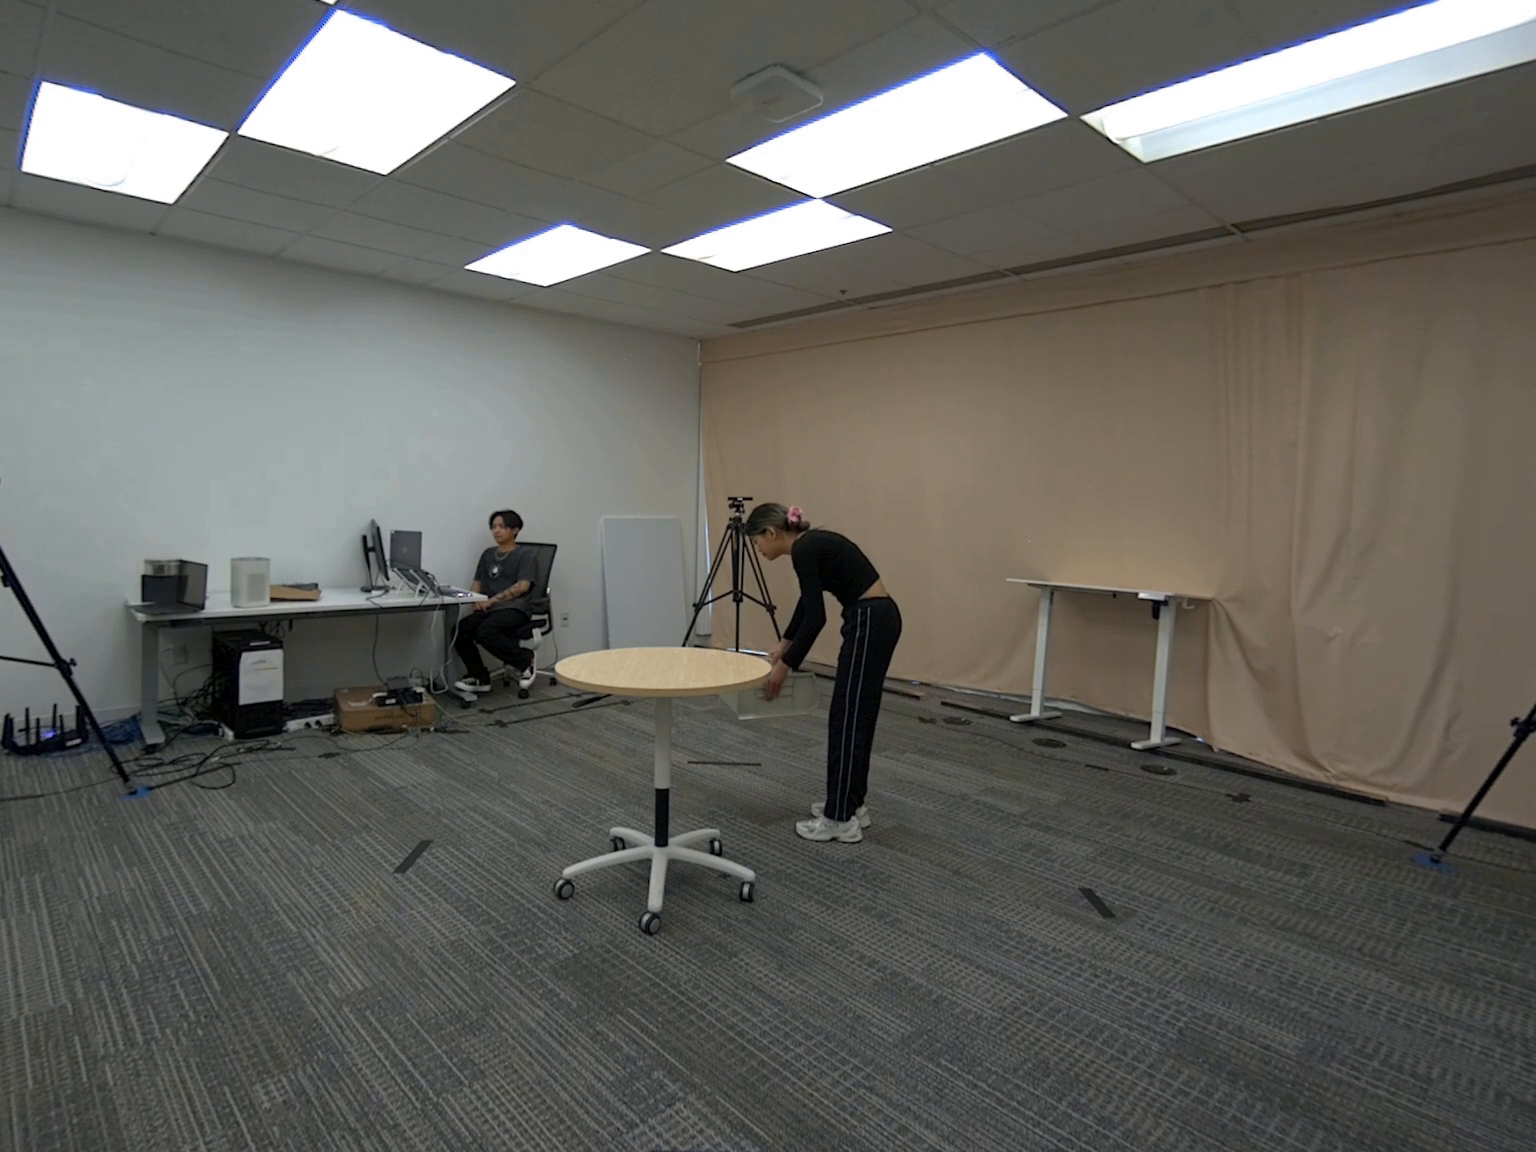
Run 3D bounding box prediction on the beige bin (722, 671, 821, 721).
[{"bbox_3d":[0.000,0.486,3.750,0.373,0.188,0.428,-4,7,-14],"label":"beige bin"}]
